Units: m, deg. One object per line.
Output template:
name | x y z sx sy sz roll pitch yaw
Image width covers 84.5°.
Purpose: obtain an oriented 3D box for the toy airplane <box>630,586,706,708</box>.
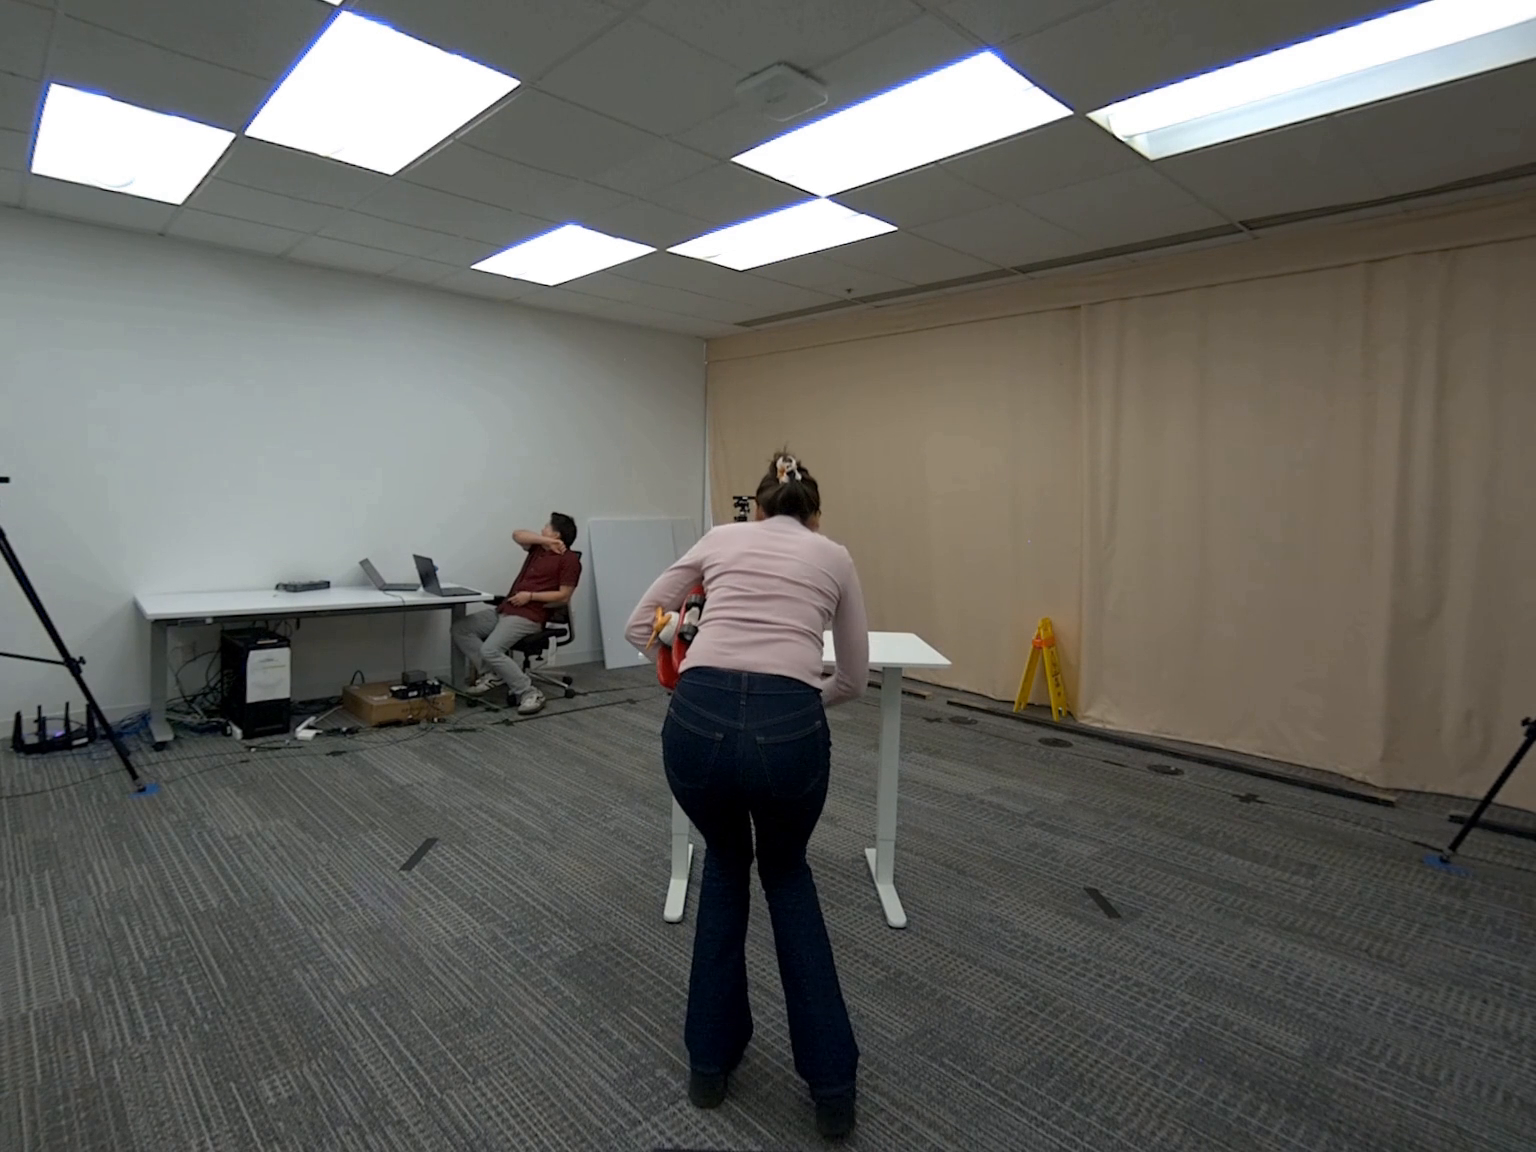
toy airplane | -0.145 0.191 2.038 0.159 0.255 0.251 -19 20 38
